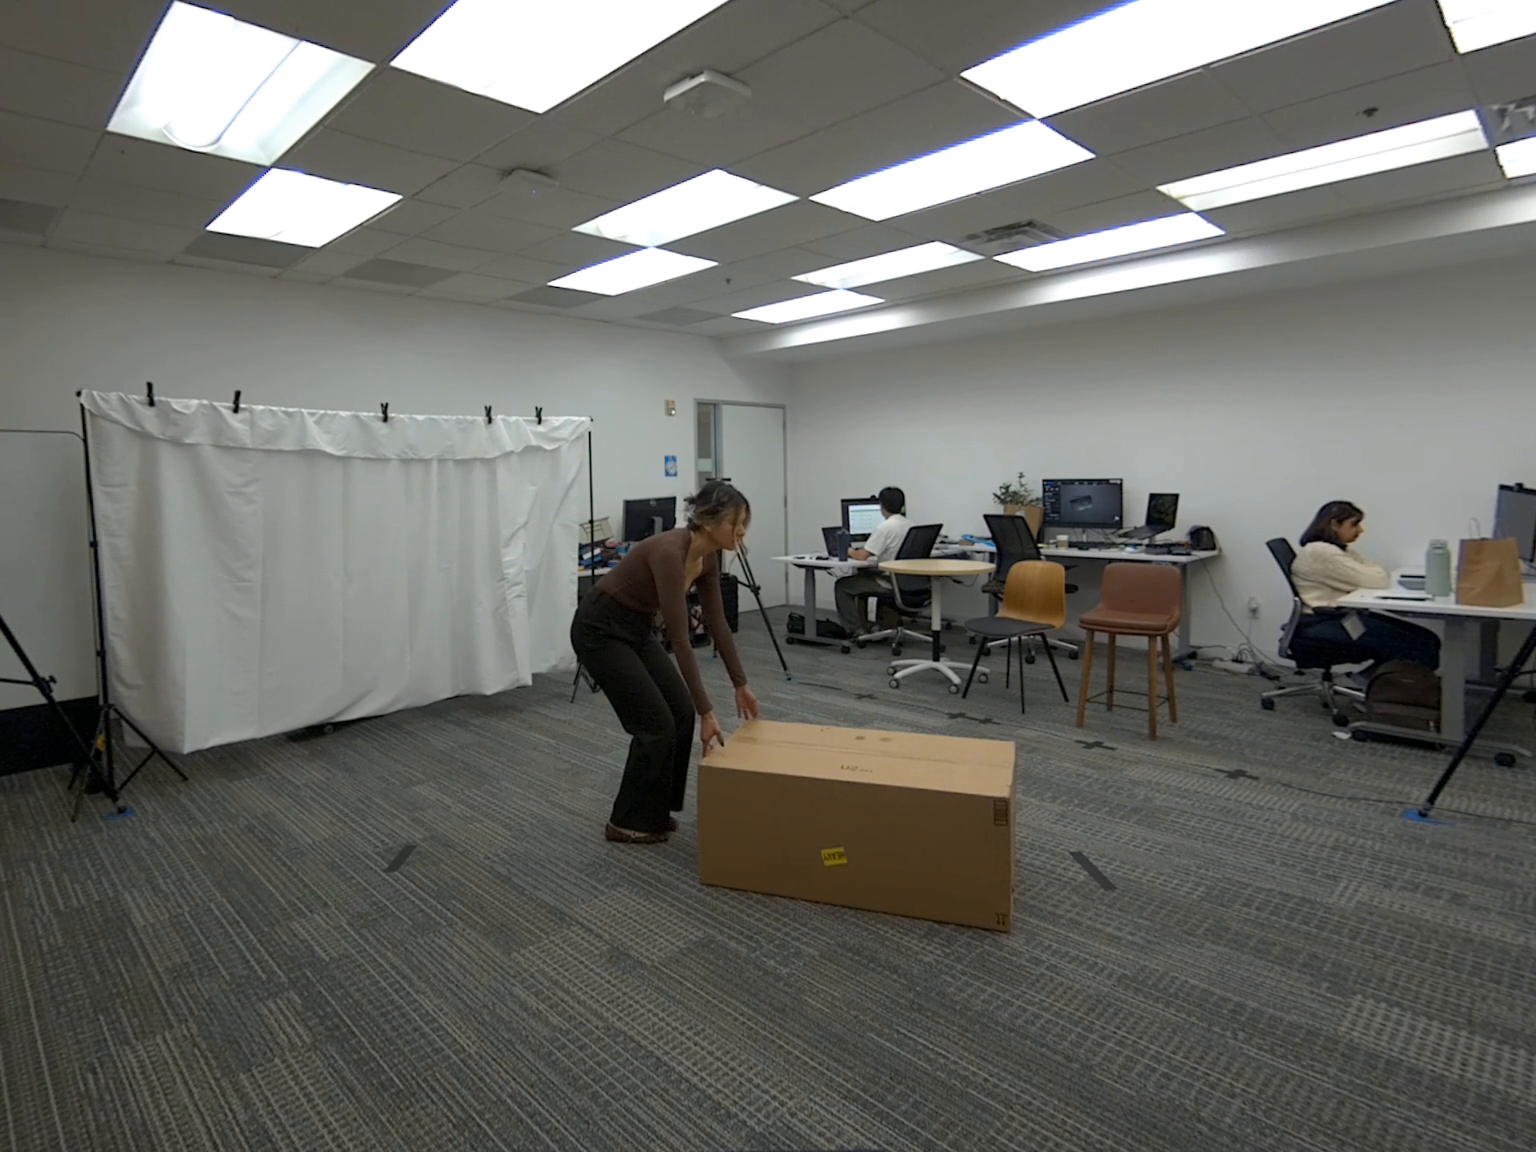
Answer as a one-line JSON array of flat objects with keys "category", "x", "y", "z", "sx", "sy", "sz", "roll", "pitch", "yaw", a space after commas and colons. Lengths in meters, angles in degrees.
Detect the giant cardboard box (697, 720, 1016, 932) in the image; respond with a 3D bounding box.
[{"category": "giant cardboard box", "x": 0.331, "y": 0.832, "z": 3.018, "sx": 1.047, "sy": 0.444, "sz": 0.576, "roll": 0, "pitch": 7, "yaw": 20}]
